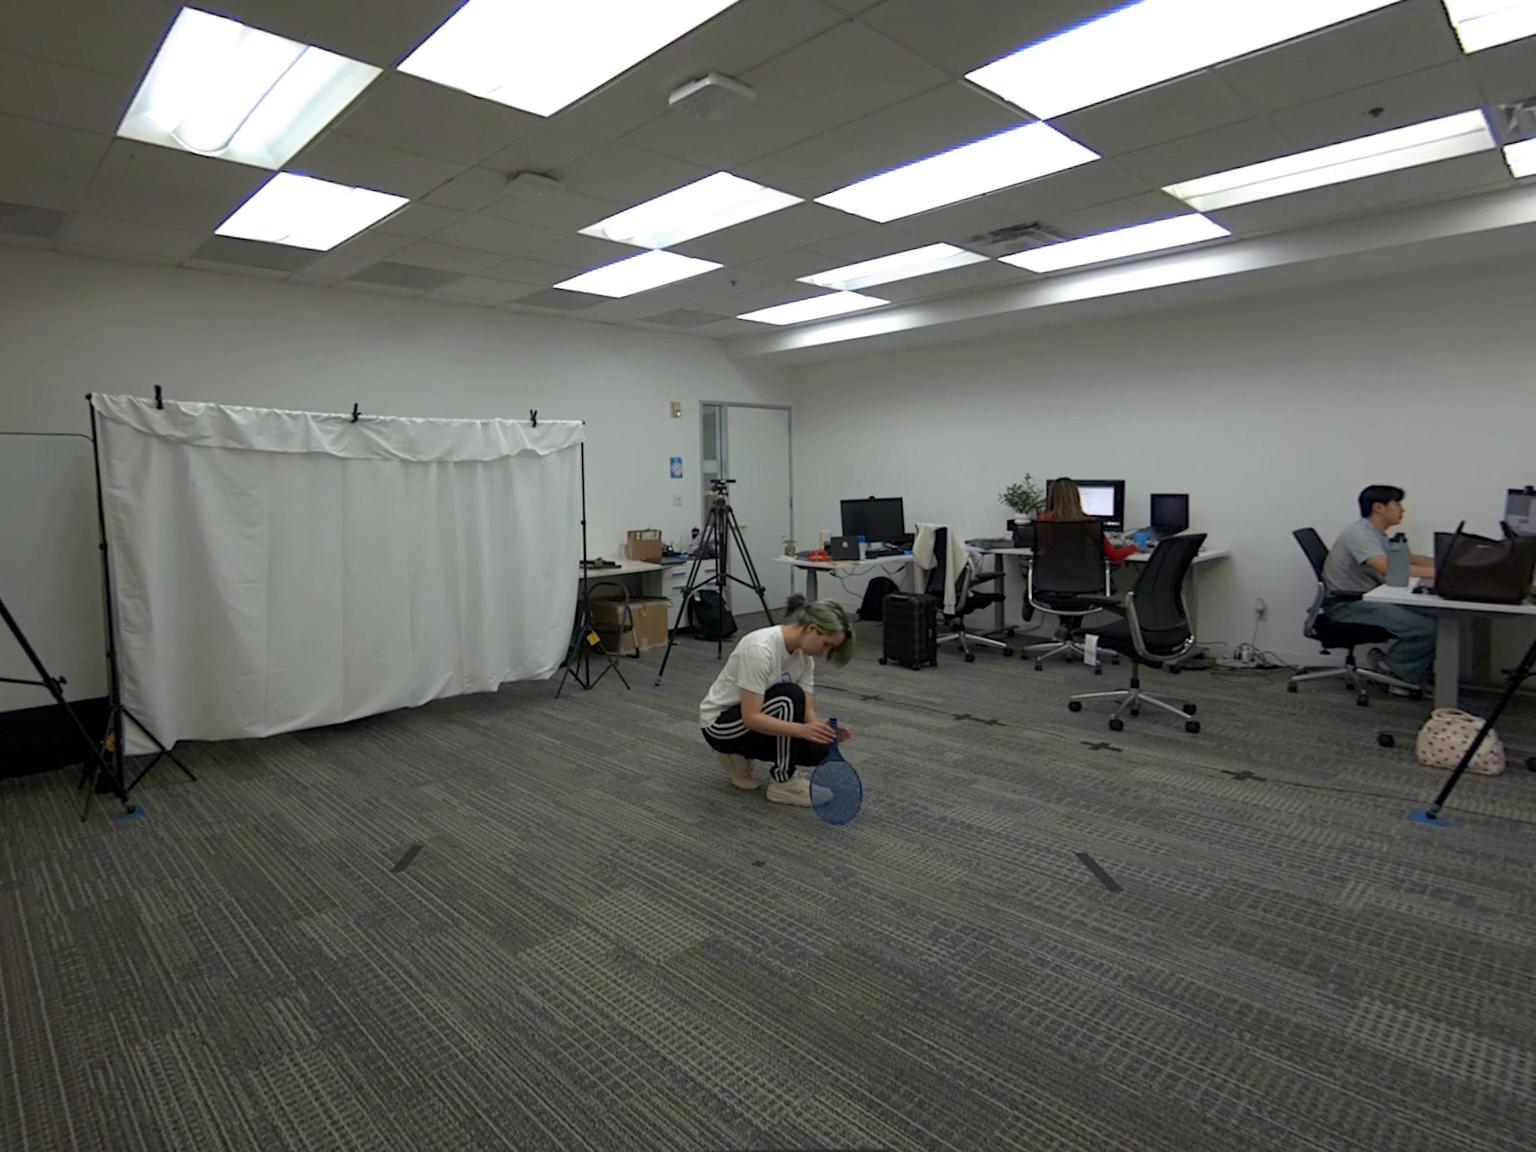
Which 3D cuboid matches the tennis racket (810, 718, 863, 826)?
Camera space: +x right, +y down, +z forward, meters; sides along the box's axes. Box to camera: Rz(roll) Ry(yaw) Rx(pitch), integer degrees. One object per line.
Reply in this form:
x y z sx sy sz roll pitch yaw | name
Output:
0.270 0.790 3.464 0.216 0.433 0.031 -3 0 14 | tennis racket
